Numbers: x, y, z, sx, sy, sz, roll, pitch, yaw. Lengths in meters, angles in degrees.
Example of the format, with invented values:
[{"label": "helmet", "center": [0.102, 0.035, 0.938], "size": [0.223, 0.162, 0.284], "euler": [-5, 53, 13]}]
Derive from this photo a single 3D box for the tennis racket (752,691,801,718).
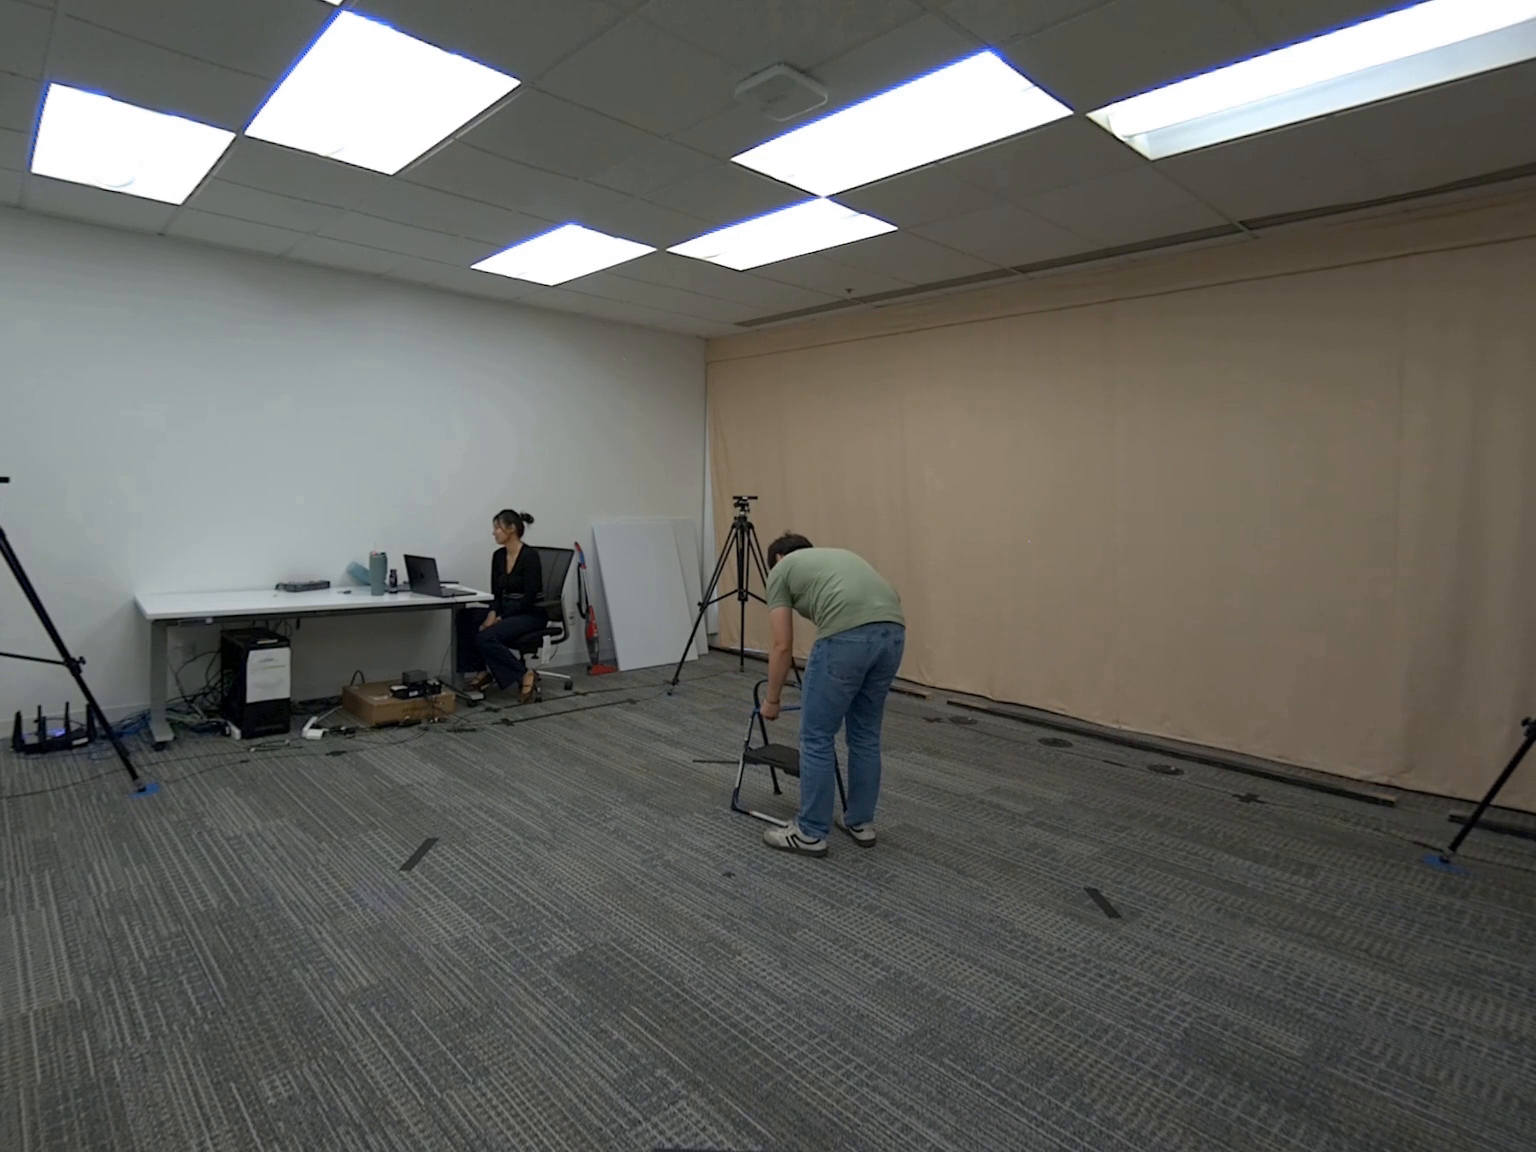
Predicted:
[{"label": "tennis racket", "center": [0.137, 0.579, 3.720], "size": [0.428, 0.032, 0.215], "euler": [-2, -6, -15]}]
